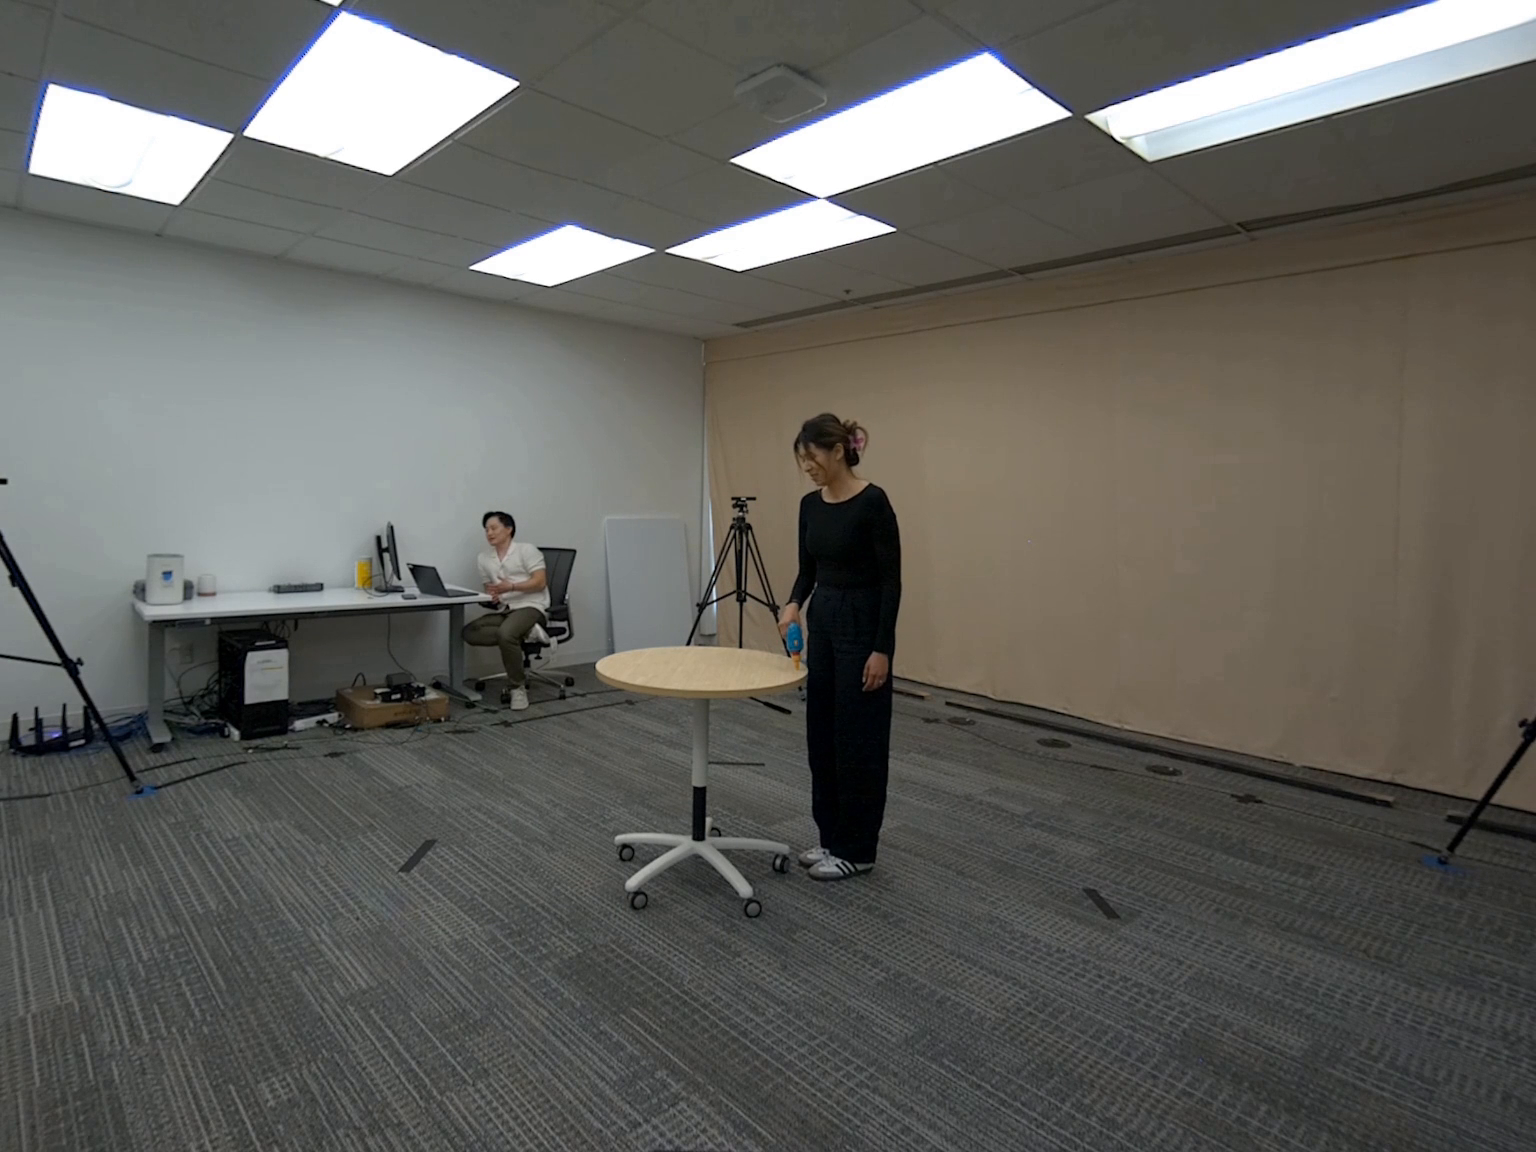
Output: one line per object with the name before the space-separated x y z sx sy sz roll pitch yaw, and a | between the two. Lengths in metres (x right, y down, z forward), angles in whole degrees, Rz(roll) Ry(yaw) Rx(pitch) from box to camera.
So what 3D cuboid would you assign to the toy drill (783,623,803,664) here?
toy drill | 0.088 0.252 3.073 0.061 0.170 0.146 -4 2 -4
